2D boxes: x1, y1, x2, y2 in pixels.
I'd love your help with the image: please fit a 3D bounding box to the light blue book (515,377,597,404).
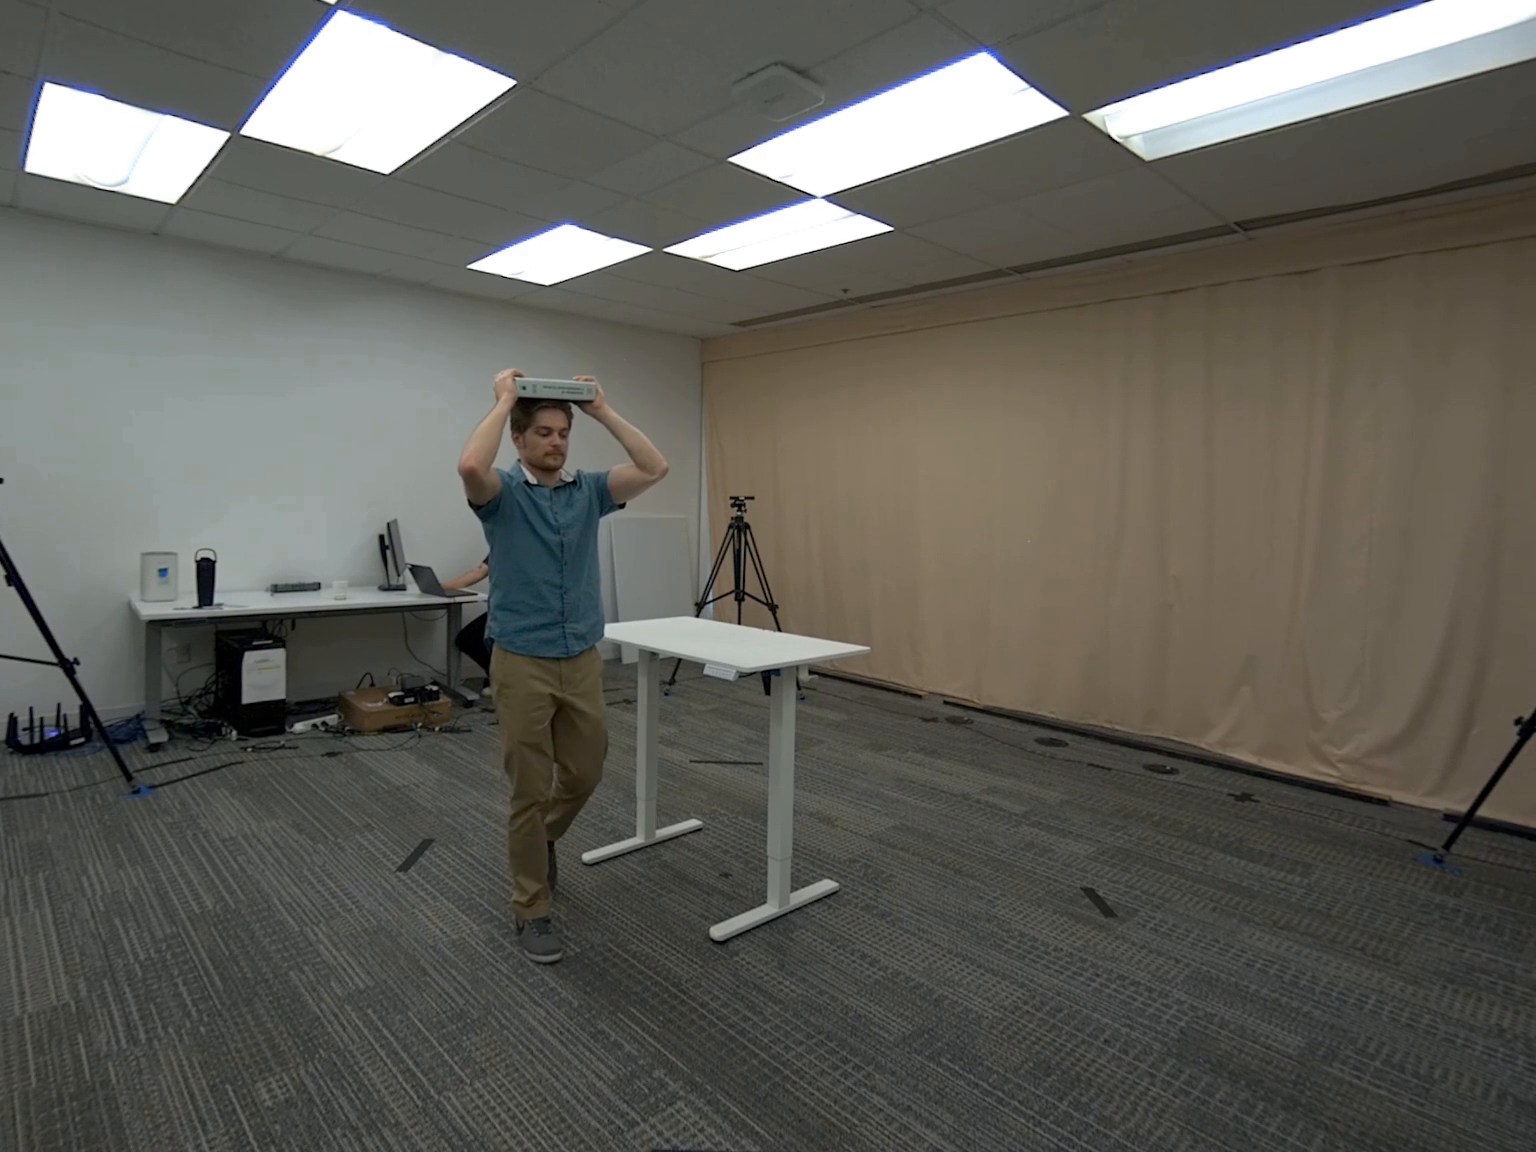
[{"bbox_3d":[-0.704,-0.581,2.623,0.255,0.058,0.197,-7,14,-39],"label":"light blue book"}]
